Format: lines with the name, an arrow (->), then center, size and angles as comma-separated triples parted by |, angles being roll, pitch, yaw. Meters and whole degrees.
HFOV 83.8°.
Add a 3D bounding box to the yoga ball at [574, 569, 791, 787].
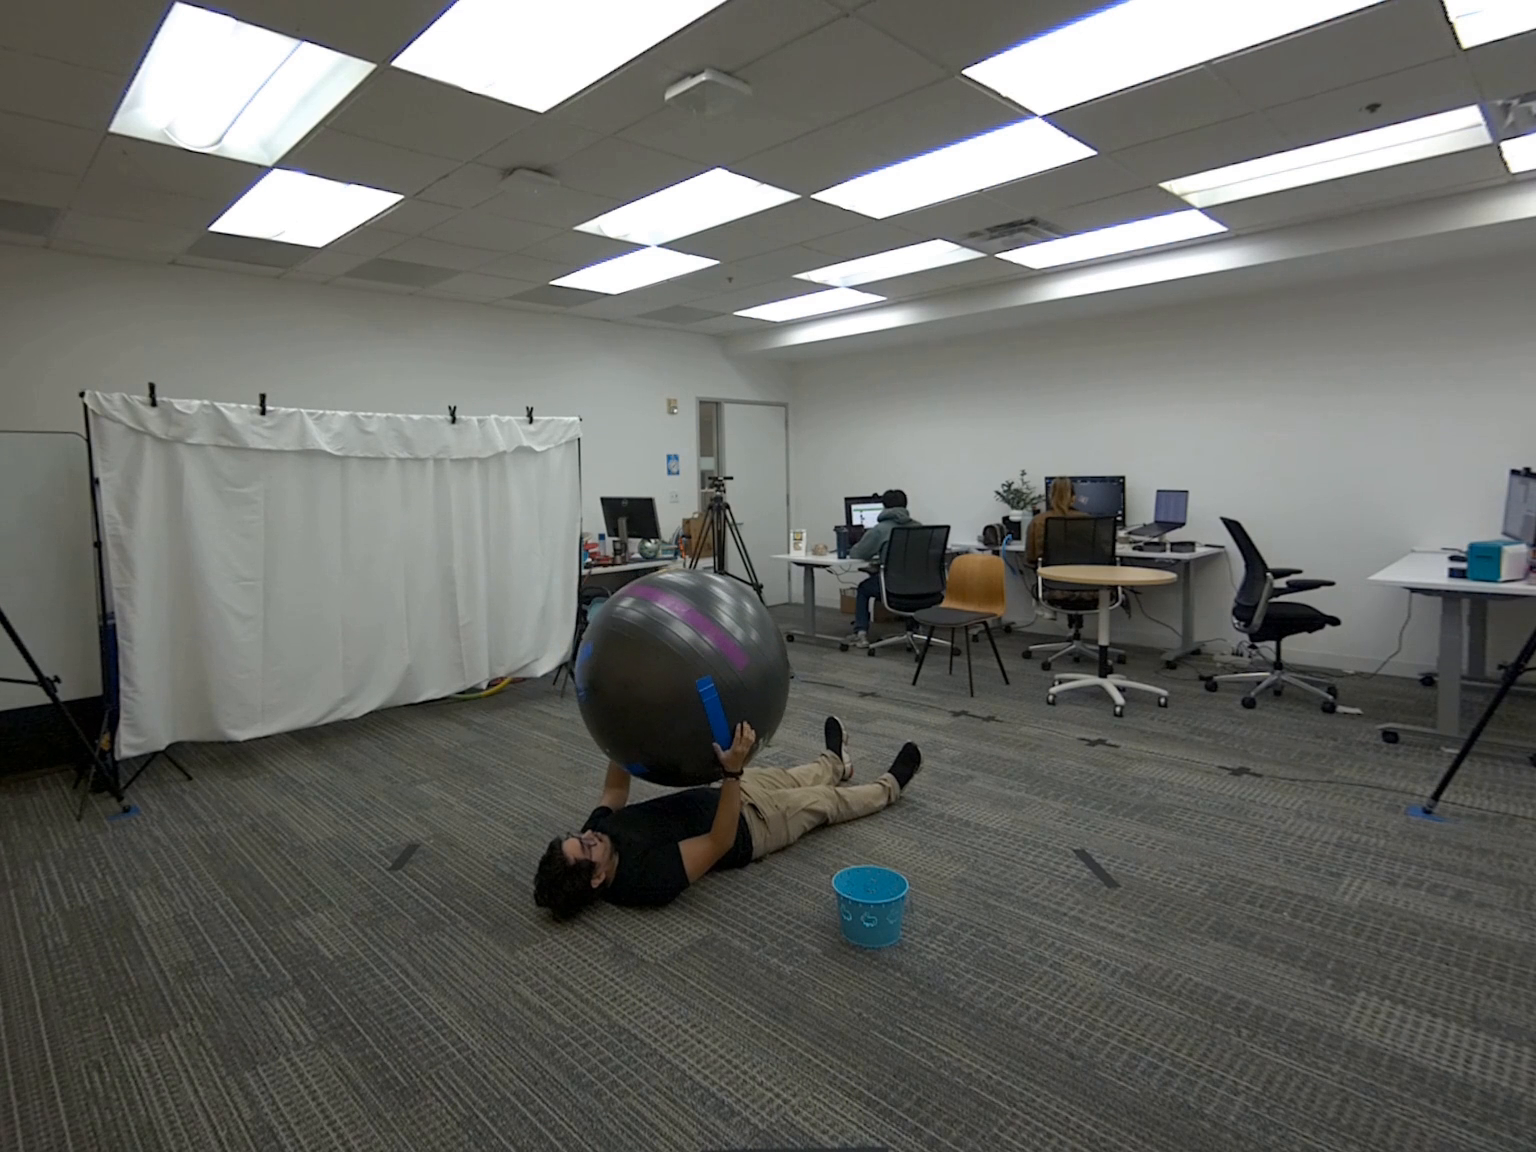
yoga ball -> -0.302, 0.355, 3.026 | 0.757, 0.755, 0.761 | -1, 4, -2
